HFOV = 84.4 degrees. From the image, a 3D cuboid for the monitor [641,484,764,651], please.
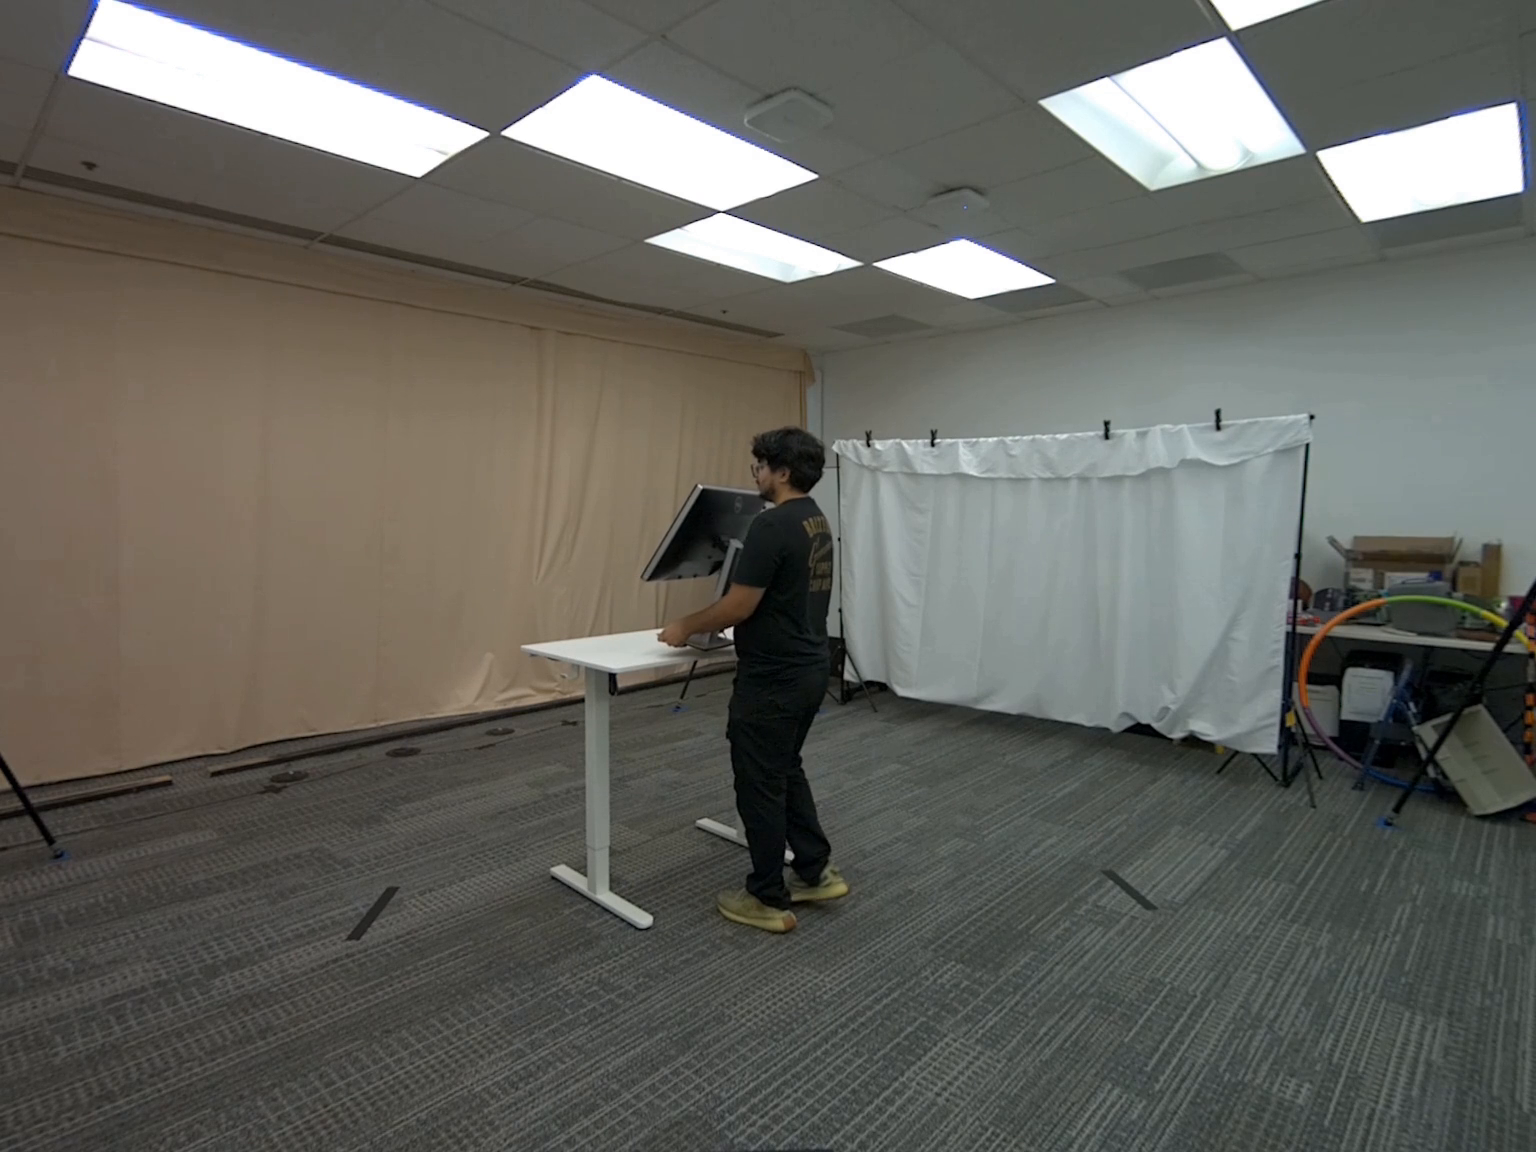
[{"bbox_3d":[-0.171,-0.030,2.886,0.215,0.553,0.552,29,13,20],"label":"monitor"}]
